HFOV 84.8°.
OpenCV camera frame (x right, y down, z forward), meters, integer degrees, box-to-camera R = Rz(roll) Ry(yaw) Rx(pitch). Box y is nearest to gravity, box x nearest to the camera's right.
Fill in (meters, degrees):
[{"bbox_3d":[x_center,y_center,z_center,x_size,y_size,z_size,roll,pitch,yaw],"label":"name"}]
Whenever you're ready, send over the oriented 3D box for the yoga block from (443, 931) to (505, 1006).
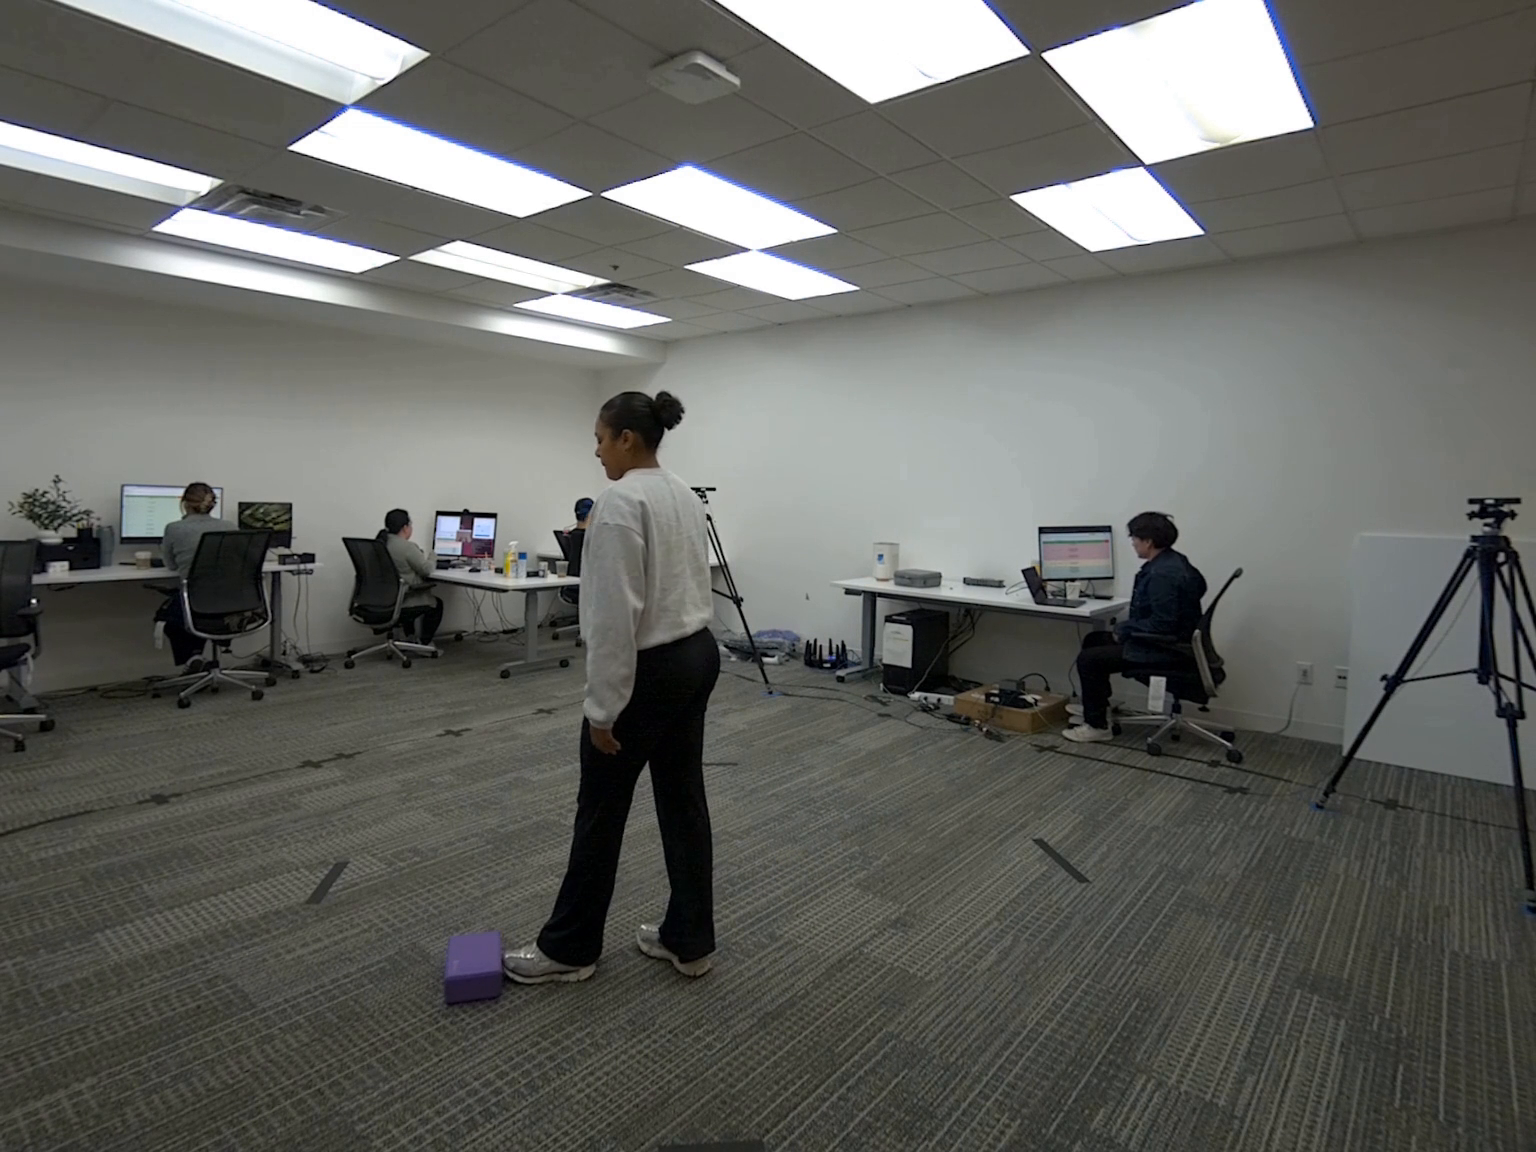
[{"bbox_3d":[-0.830,1.090,2.387,0.146,0.076,0.234,-1,5,-17],"label":"yoga block"}]
